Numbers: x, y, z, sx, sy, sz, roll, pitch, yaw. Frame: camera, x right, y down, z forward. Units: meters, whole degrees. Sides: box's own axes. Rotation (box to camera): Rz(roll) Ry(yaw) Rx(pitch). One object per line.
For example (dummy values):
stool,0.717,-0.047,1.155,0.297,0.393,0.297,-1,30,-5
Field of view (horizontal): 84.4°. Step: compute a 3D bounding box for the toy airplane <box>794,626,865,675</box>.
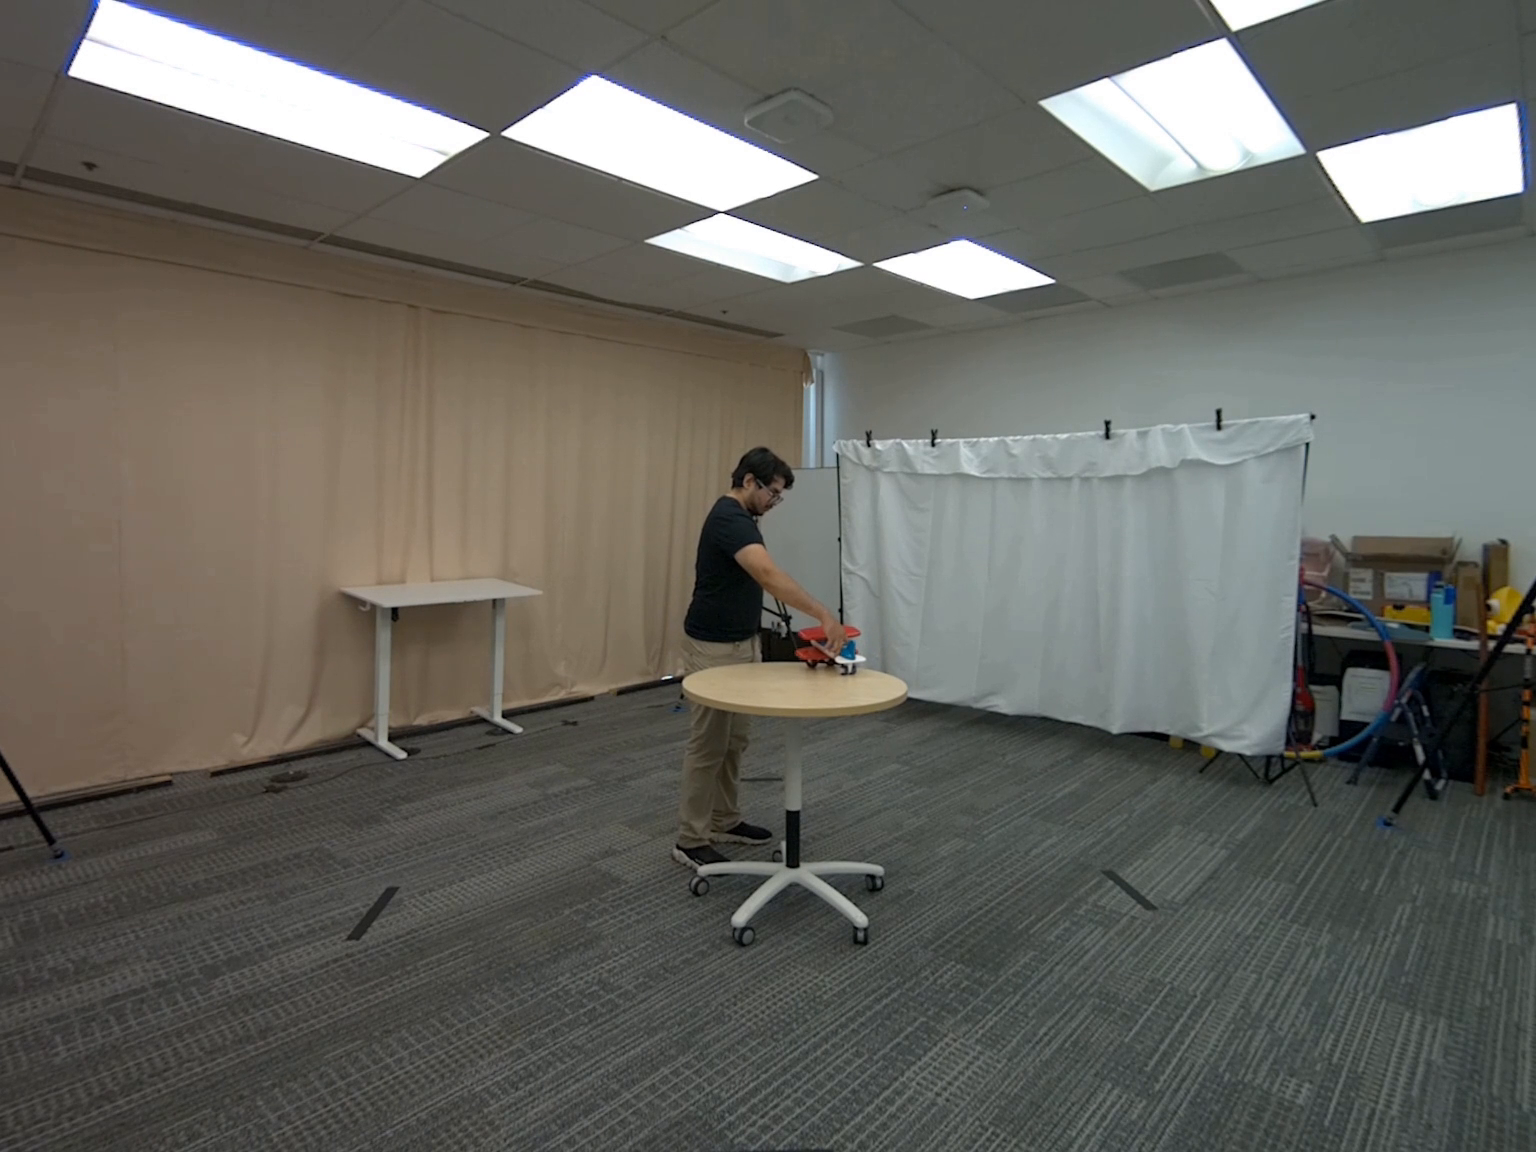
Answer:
toy airplane,0.260,0.272,3.119,0.267,0.156,0.243,2,4,37
